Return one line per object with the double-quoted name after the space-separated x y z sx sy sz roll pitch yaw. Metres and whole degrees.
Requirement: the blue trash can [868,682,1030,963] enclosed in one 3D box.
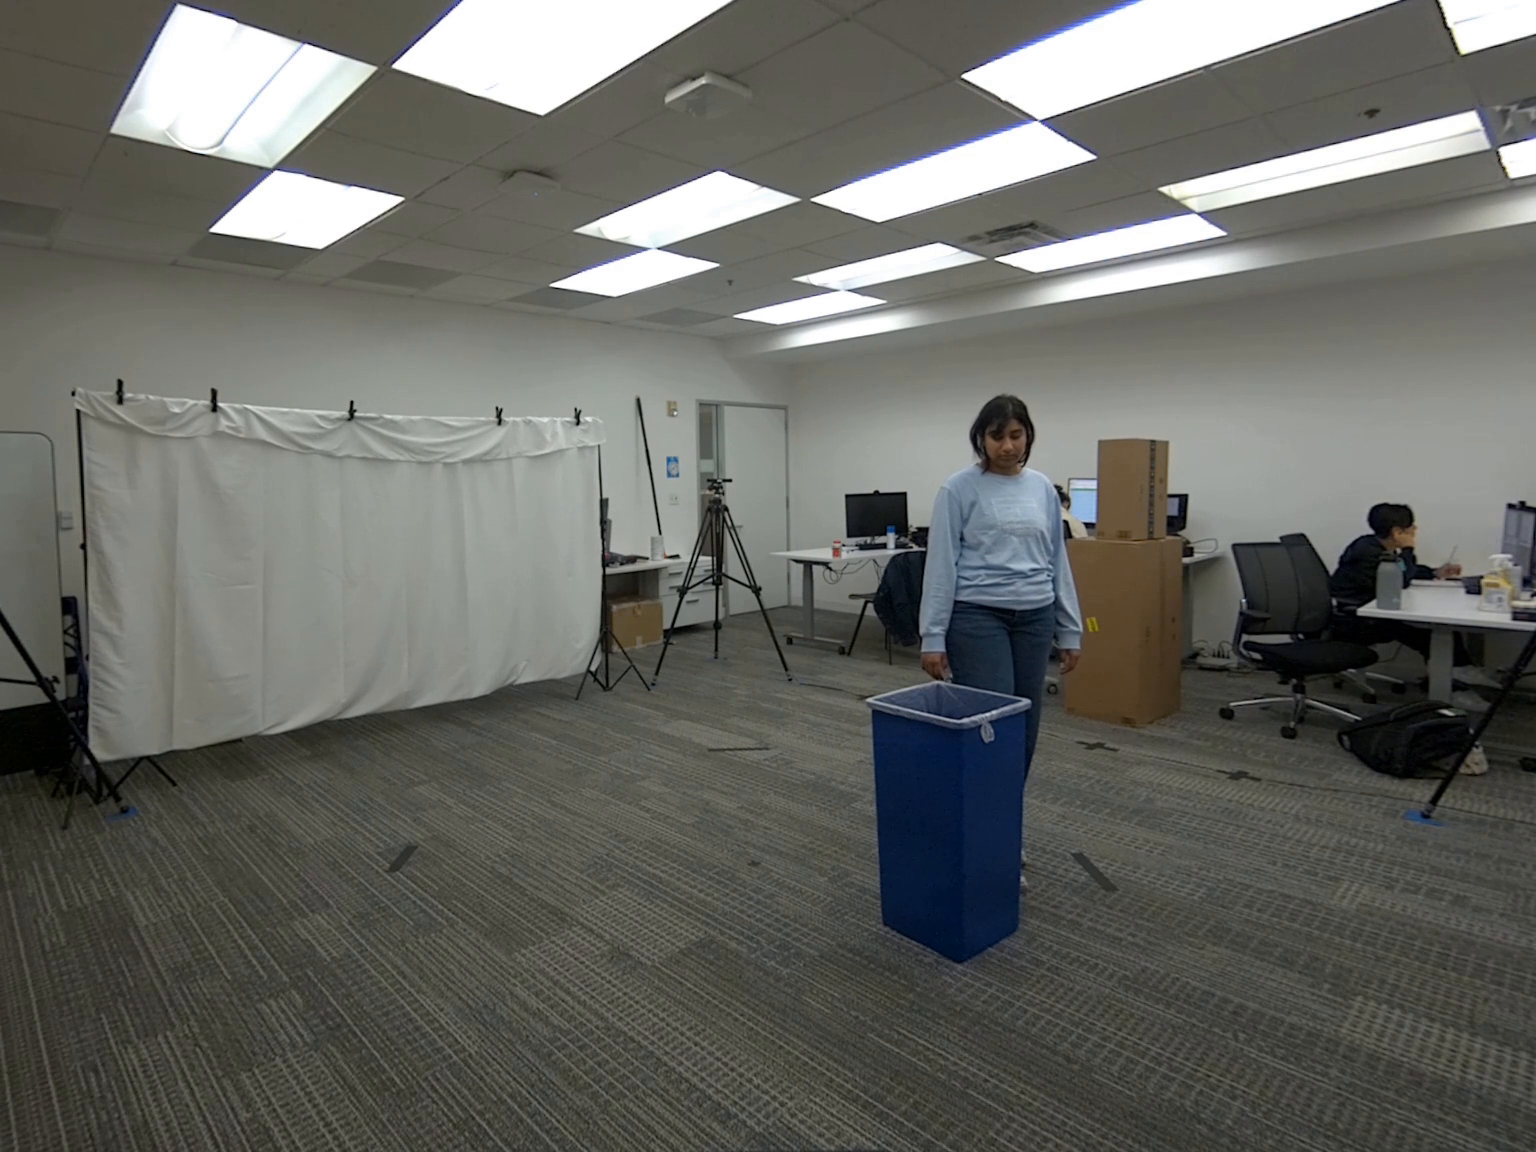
0.563 0.733 2.635 0.364 0.711 0.389 -4 5 -41 "blue trash can"
